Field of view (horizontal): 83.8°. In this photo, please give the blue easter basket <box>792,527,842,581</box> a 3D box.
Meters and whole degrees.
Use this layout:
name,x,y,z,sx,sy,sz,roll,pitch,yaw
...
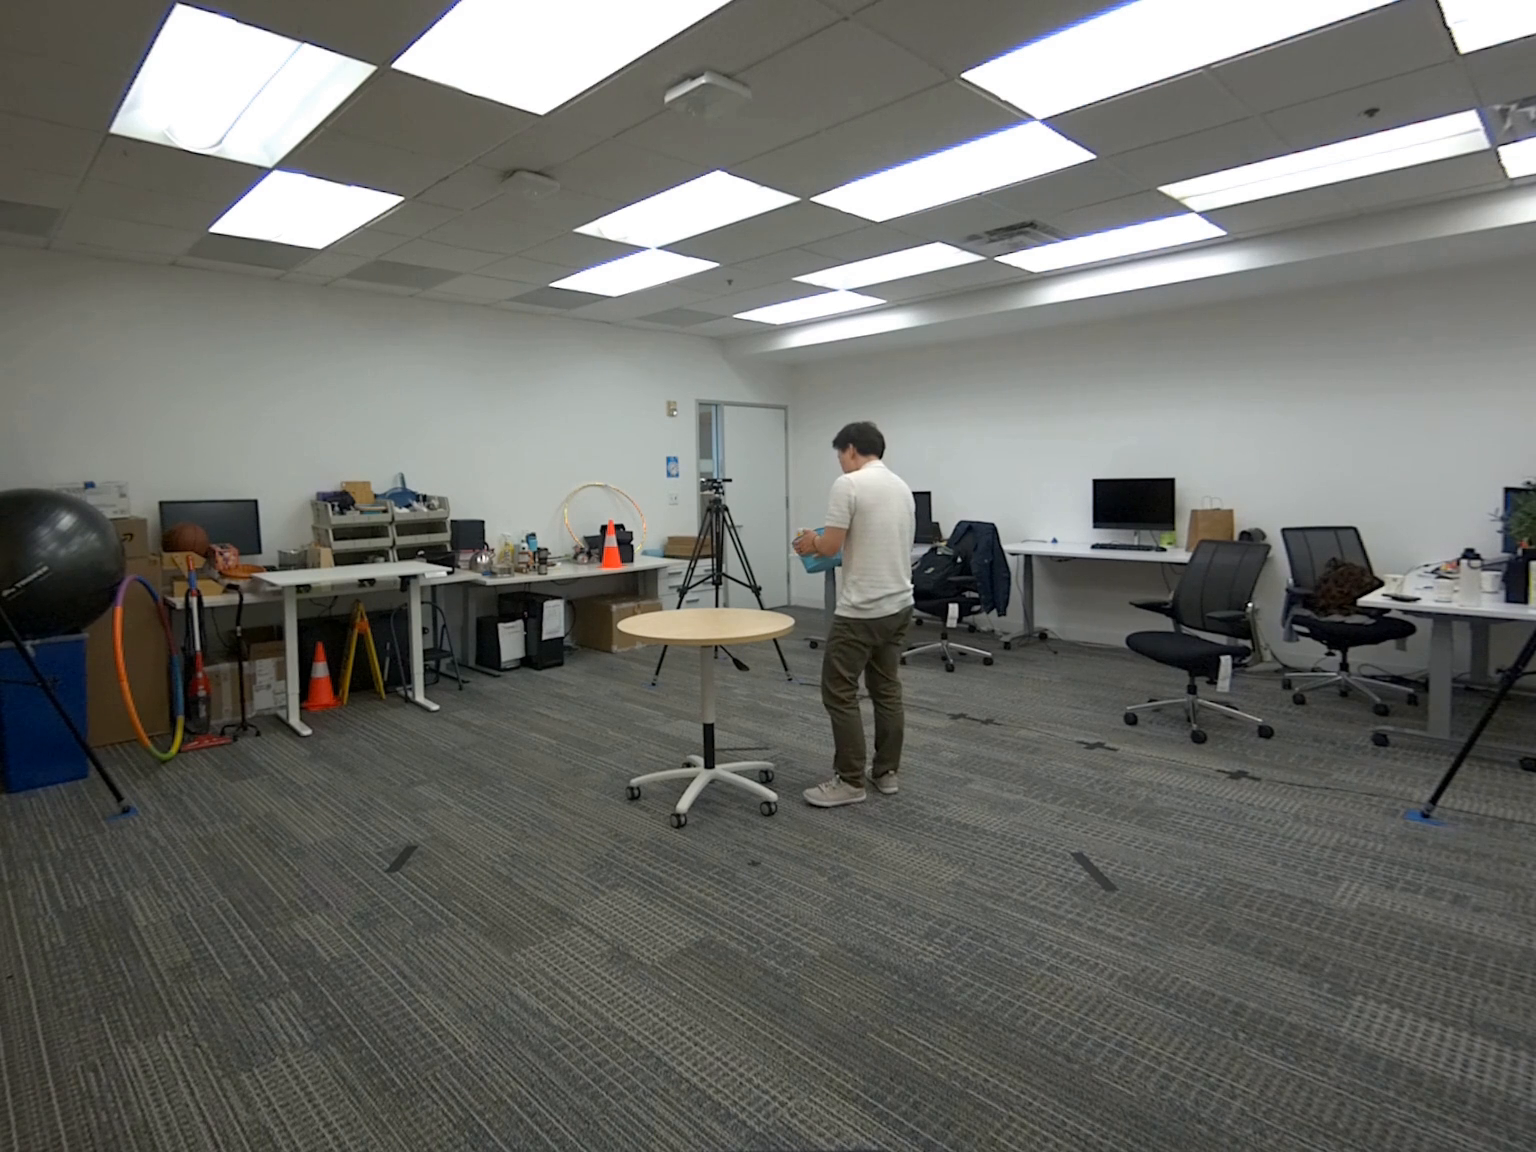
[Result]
name,x,y,z,sx,sy,sz,roll,pitch,yaw
blue easter basket,0.260,-0.117,3.996,0.243,0.159,0.240,-14,-15,-6
